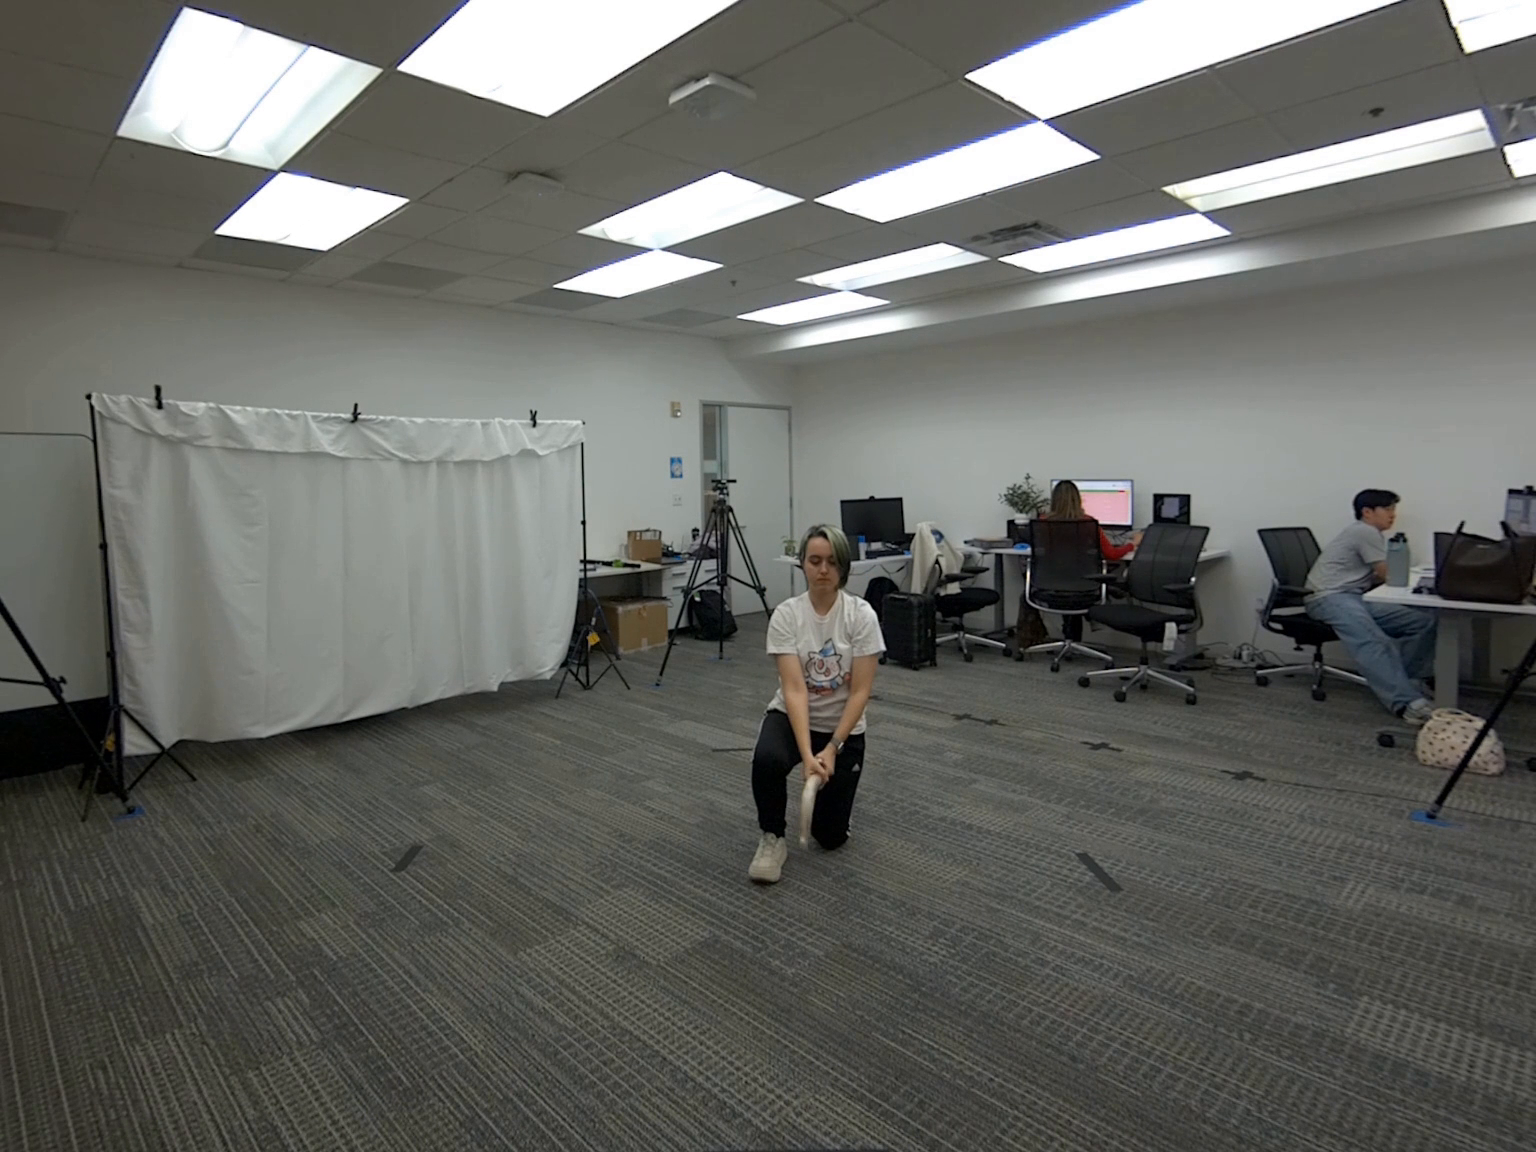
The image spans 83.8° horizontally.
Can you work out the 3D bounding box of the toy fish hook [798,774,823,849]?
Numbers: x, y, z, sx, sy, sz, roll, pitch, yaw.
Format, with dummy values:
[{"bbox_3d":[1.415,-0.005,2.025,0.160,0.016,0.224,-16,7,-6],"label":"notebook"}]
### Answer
[{"bbox_3d":[0.140,0.719,2.746,0.049,0.224,0.501,11,4,9],"label":"toy fish hook"}]
